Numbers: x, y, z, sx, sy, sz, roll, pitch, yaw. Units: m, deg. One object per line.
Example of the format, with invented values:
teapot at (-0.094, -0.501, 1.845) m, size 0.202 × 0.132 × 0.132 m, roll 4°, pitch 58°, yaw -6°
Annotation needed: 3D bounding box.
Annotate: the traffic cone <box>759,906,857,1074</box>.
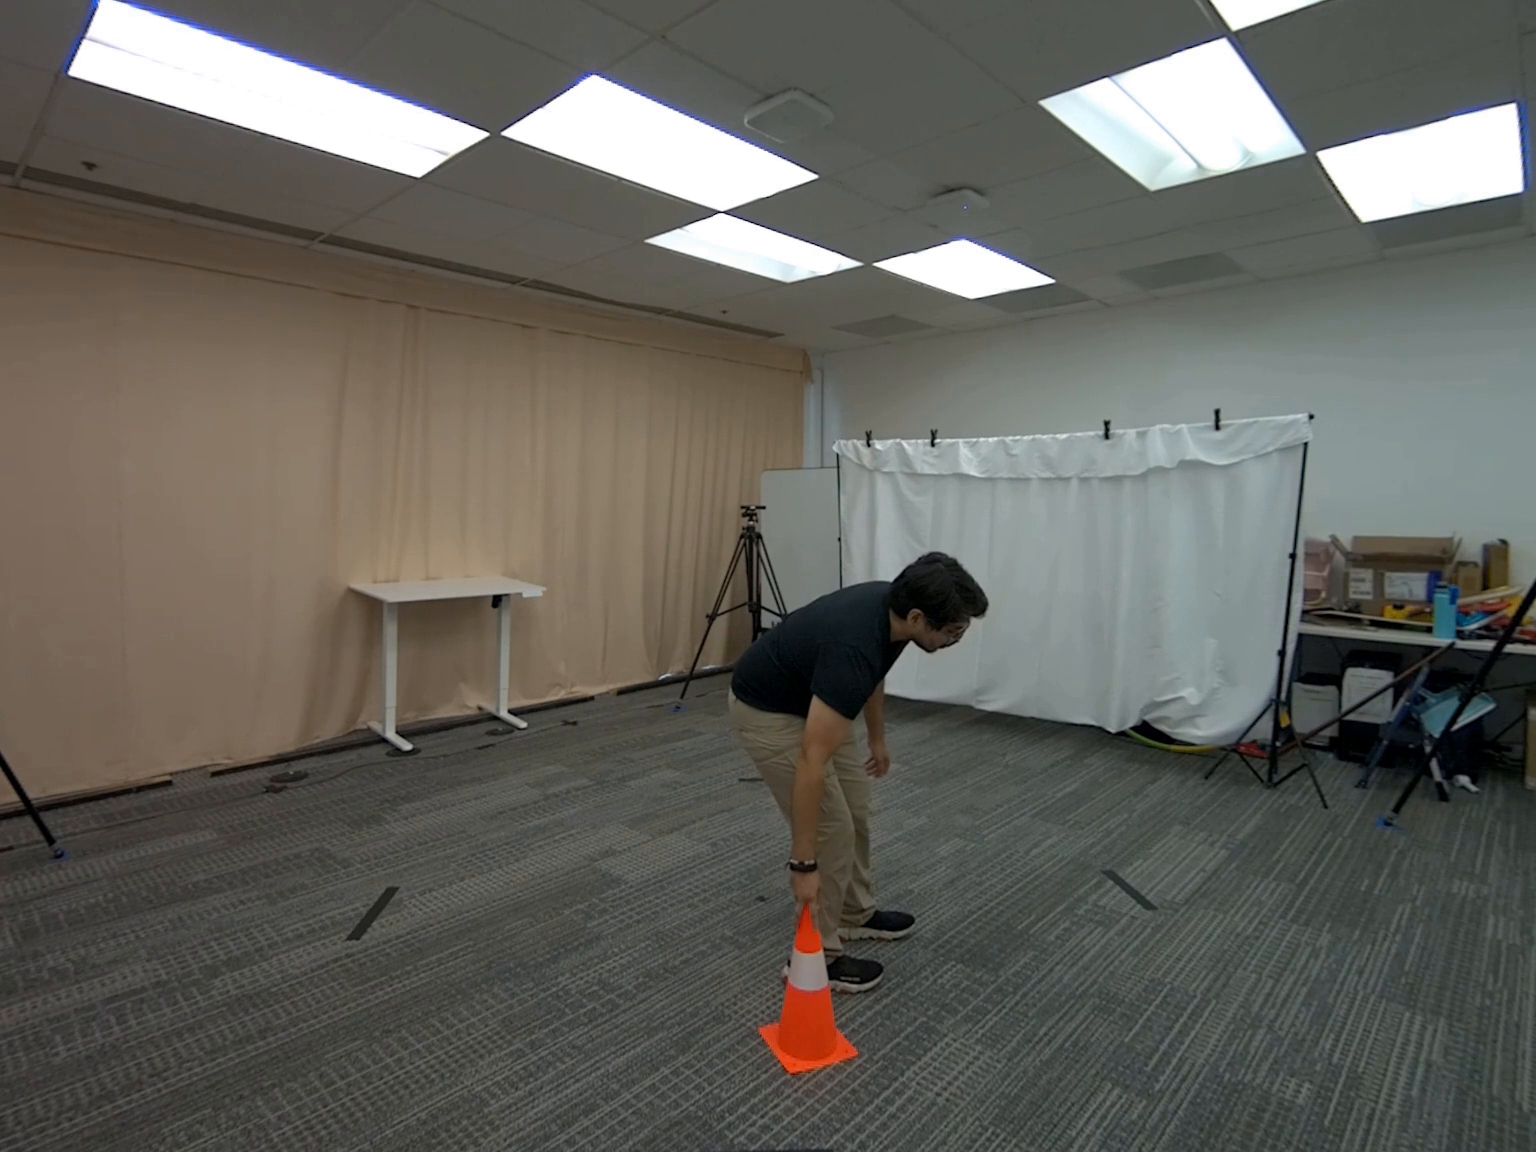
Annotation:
traffic cone at (0.104, 1.033, 2.168) m, size 0.201 × 0.383 × 0.207 m, roll -2°, pitch 3°, yaw -19°
